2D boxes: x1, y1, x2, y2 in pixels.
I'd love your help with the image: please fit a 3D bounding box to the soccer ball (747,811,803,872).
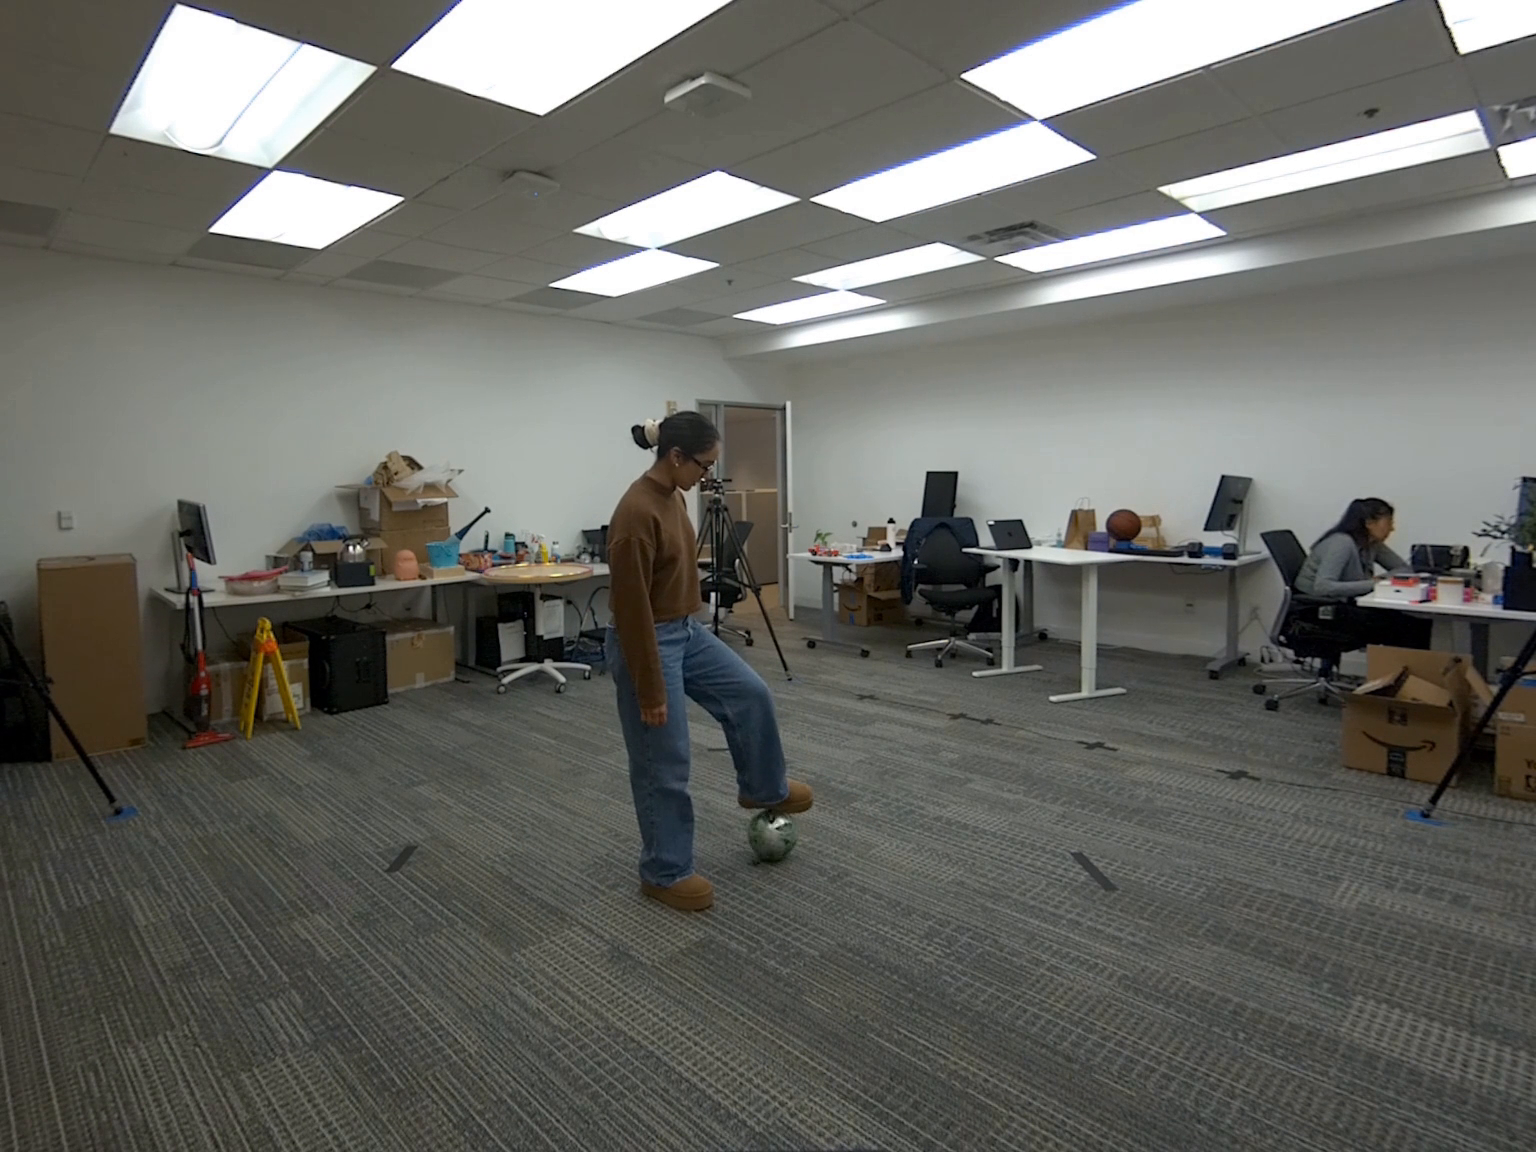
[{"bbox_3d":[0.019,0.946,3.144,0.187,0.187,0.188,-1,5,-2],"label":"soccer ball"}]
